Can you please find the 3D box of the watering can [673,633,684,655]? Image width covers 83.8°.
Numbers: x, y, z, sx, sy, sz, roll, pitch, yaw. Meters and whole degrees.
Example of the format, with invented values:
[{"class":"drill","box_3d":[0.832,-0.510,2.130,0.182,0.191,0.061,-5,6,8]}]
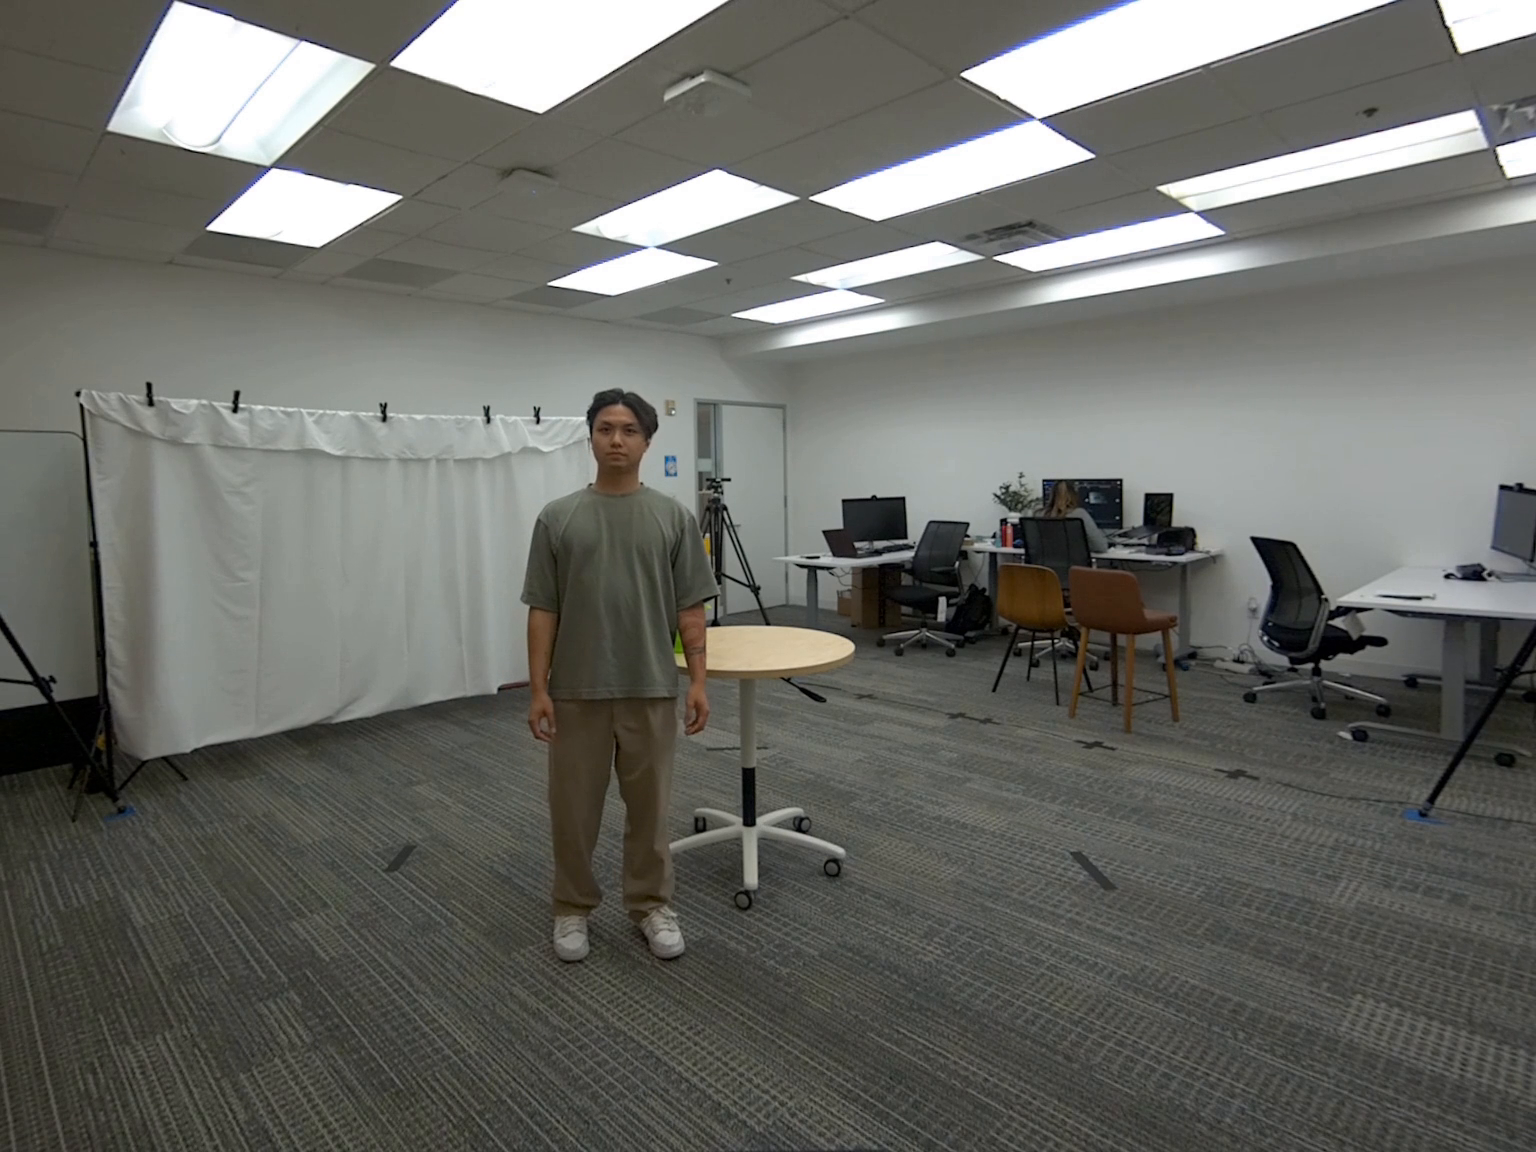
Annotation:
[{"class":"watering can","box_3d":[-0.280,0.175,2.953,0.096,0.176,0.285,-1,5,-26]}]
